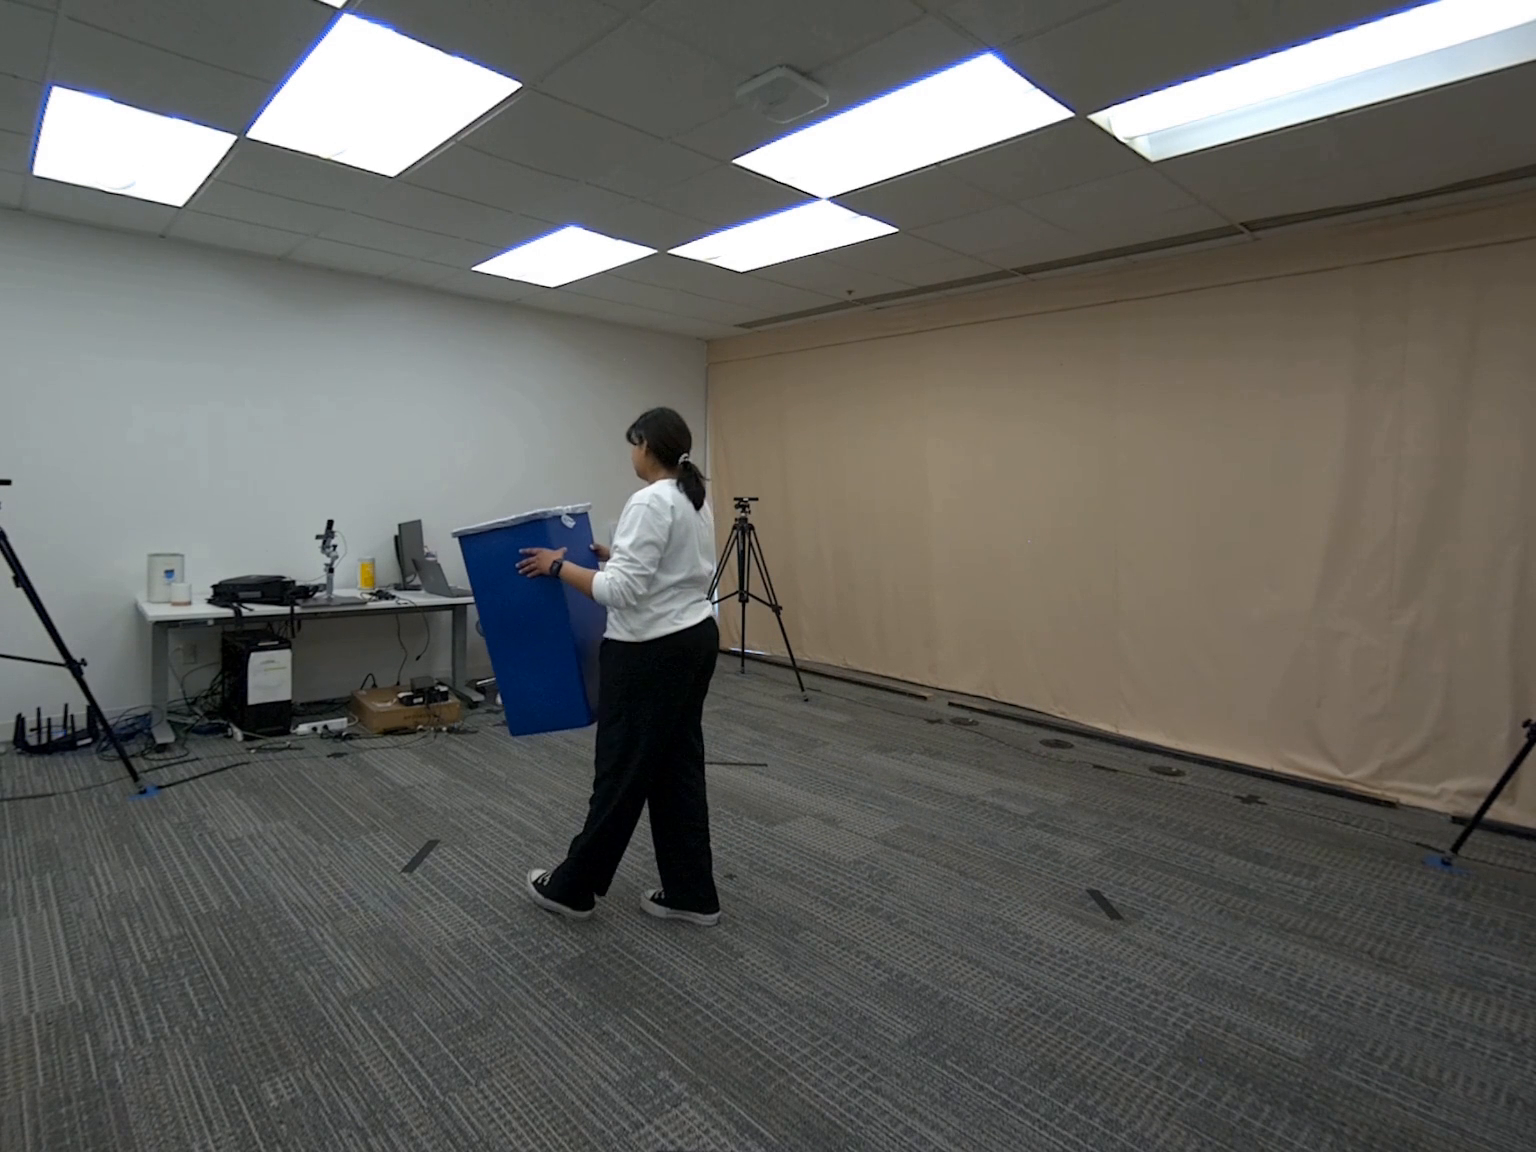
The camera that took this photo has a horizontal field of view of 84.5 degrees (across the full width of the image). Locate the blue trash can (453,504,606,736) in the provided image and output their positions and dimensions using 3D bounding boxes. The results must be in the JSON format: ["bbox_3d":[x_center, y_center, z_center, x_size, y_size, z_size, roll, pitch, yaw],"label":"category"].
[{"bbox_3d":[-0.777,0.143,2.891,0.377,0.712,0.375,-10,3,14],"label":"blue trash can"}]
